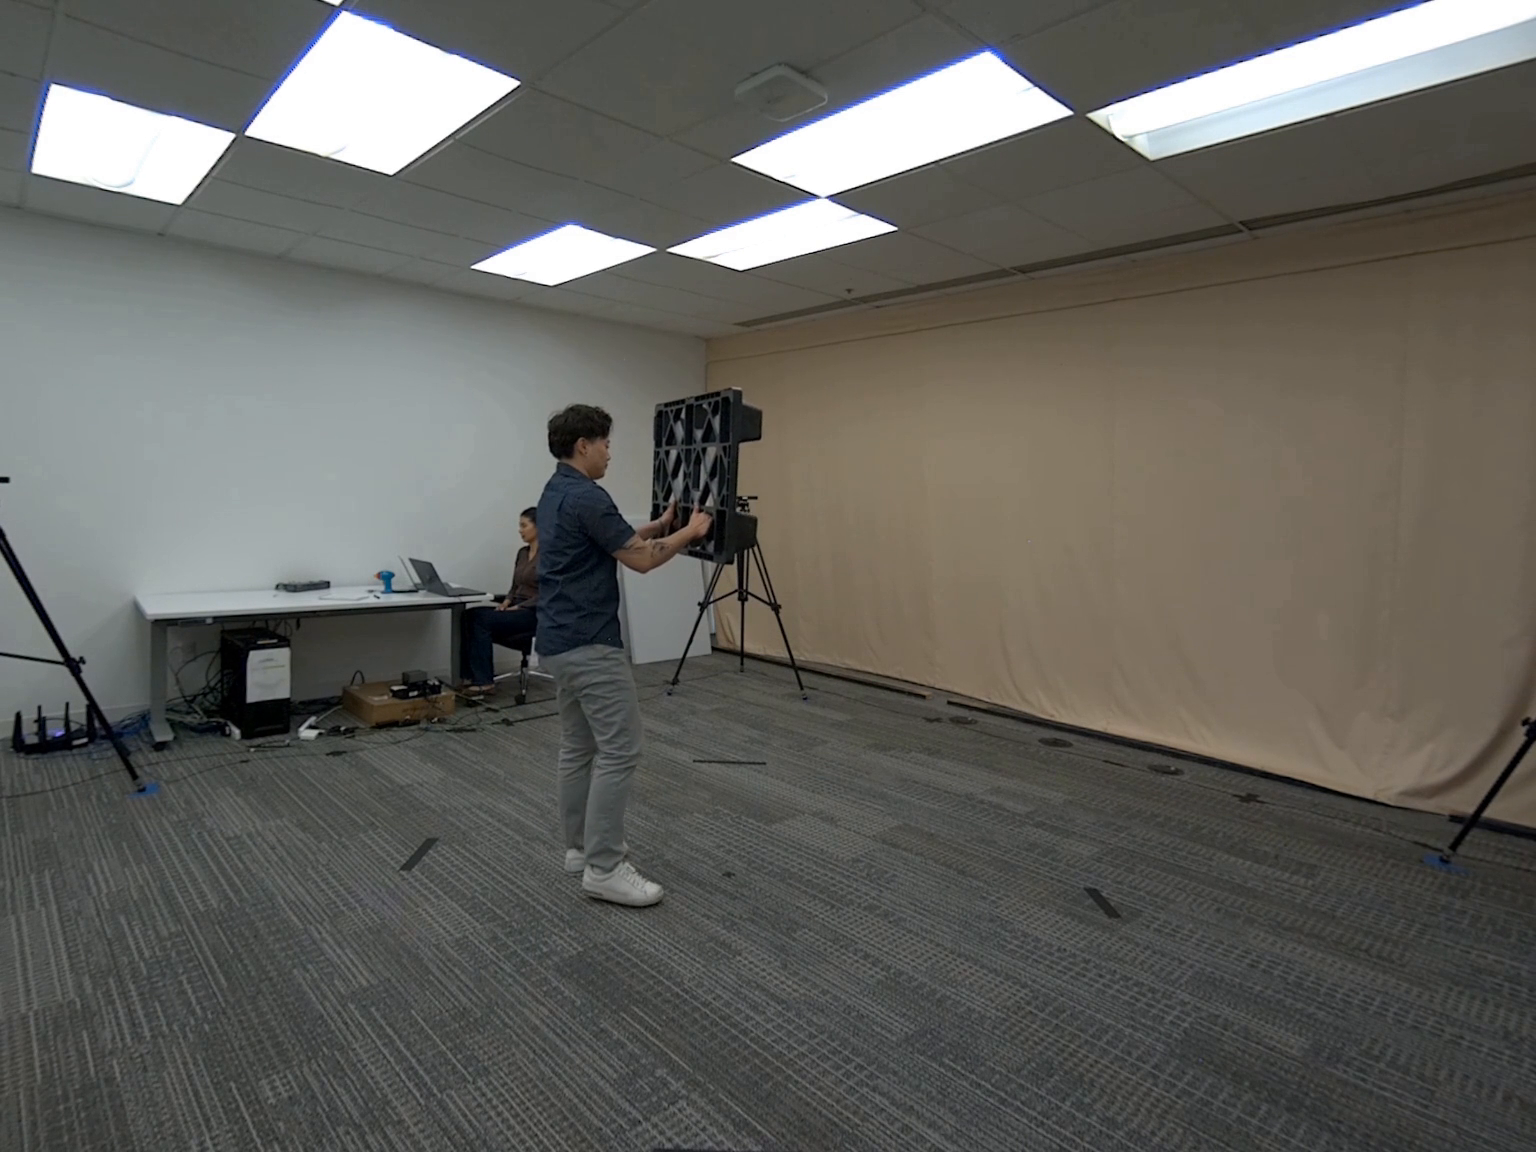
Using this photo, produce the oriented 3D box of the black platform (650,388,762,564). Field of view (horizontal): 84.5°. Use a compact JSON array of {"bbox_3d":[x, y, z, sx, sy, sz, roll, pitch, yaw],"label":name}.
[{"bbox_3d":[-0.252,-0.382,3.204,0.141,0.603,0.823,2,5,-26],"label":"black platform"}]
